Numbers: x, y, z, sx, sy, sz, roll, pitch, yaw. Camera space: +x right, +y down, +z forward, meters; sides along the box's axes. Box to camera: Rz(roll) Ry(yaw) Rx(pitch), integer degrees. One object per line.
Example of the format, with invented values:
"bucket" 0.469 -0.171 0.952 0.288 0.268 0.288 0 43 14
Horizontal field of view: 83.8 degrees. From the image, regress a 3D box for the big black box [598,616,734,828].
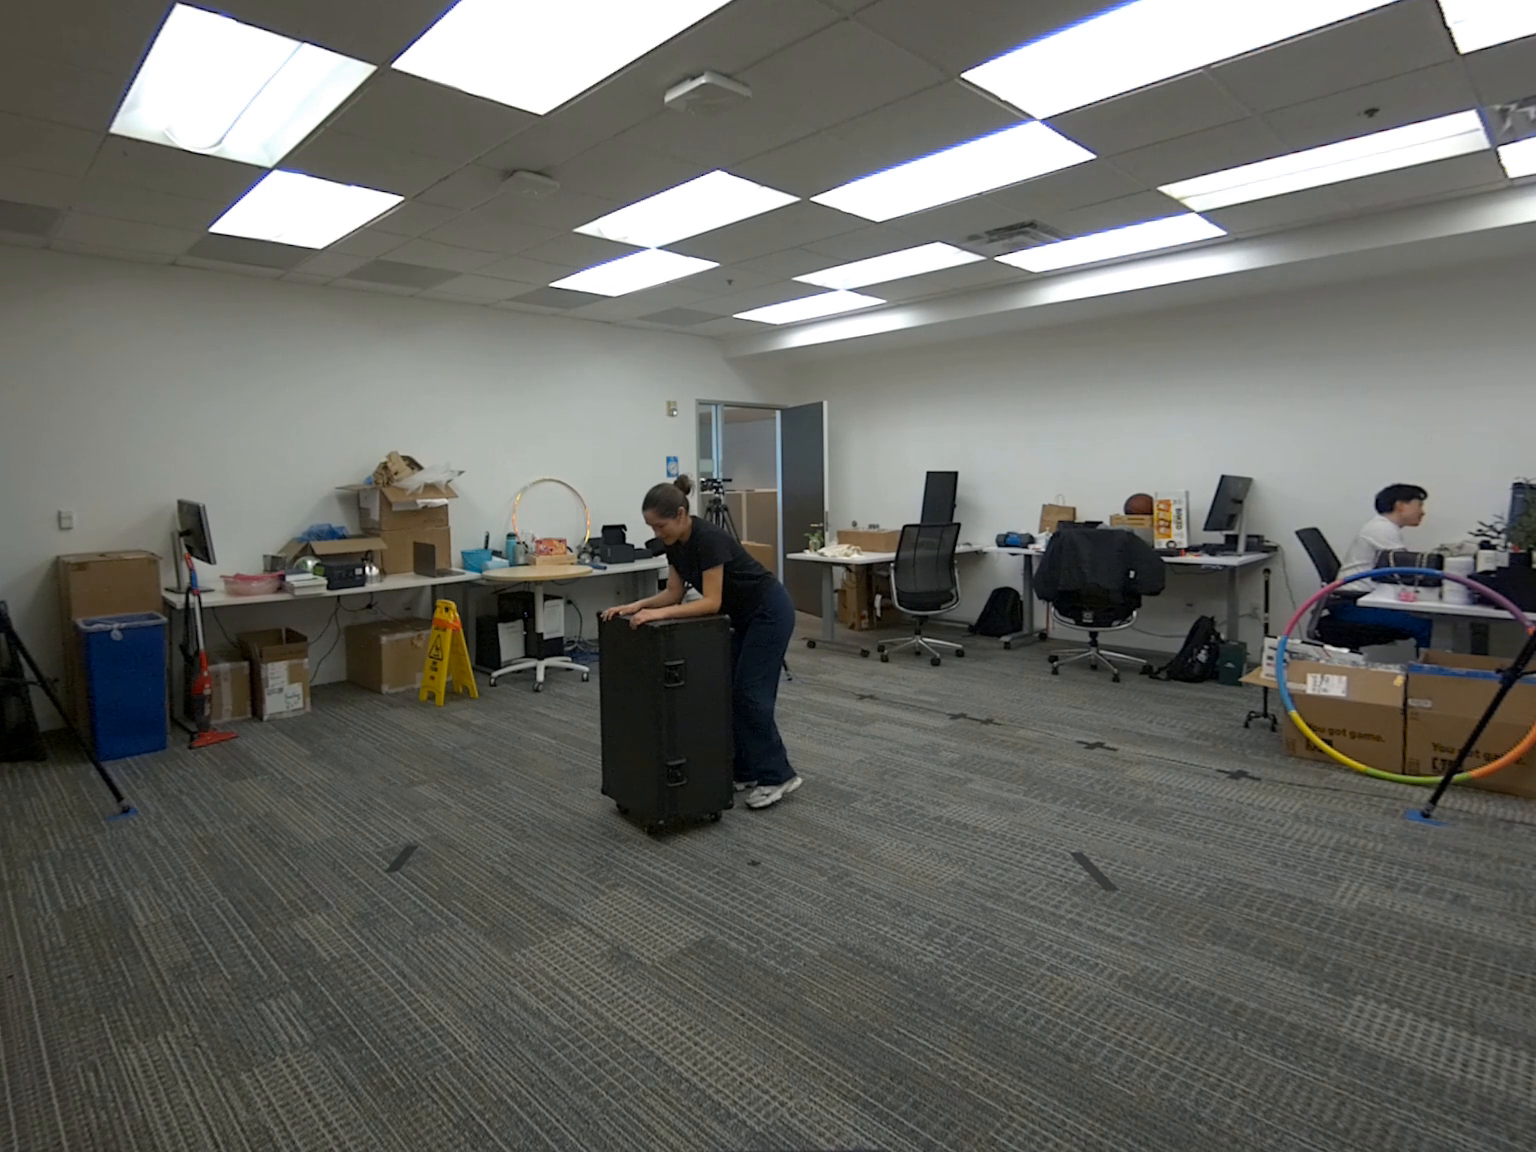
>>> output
"big black box" -0.423 0.516 3.534 0.386 0.859 0.536 -4 5 -37
